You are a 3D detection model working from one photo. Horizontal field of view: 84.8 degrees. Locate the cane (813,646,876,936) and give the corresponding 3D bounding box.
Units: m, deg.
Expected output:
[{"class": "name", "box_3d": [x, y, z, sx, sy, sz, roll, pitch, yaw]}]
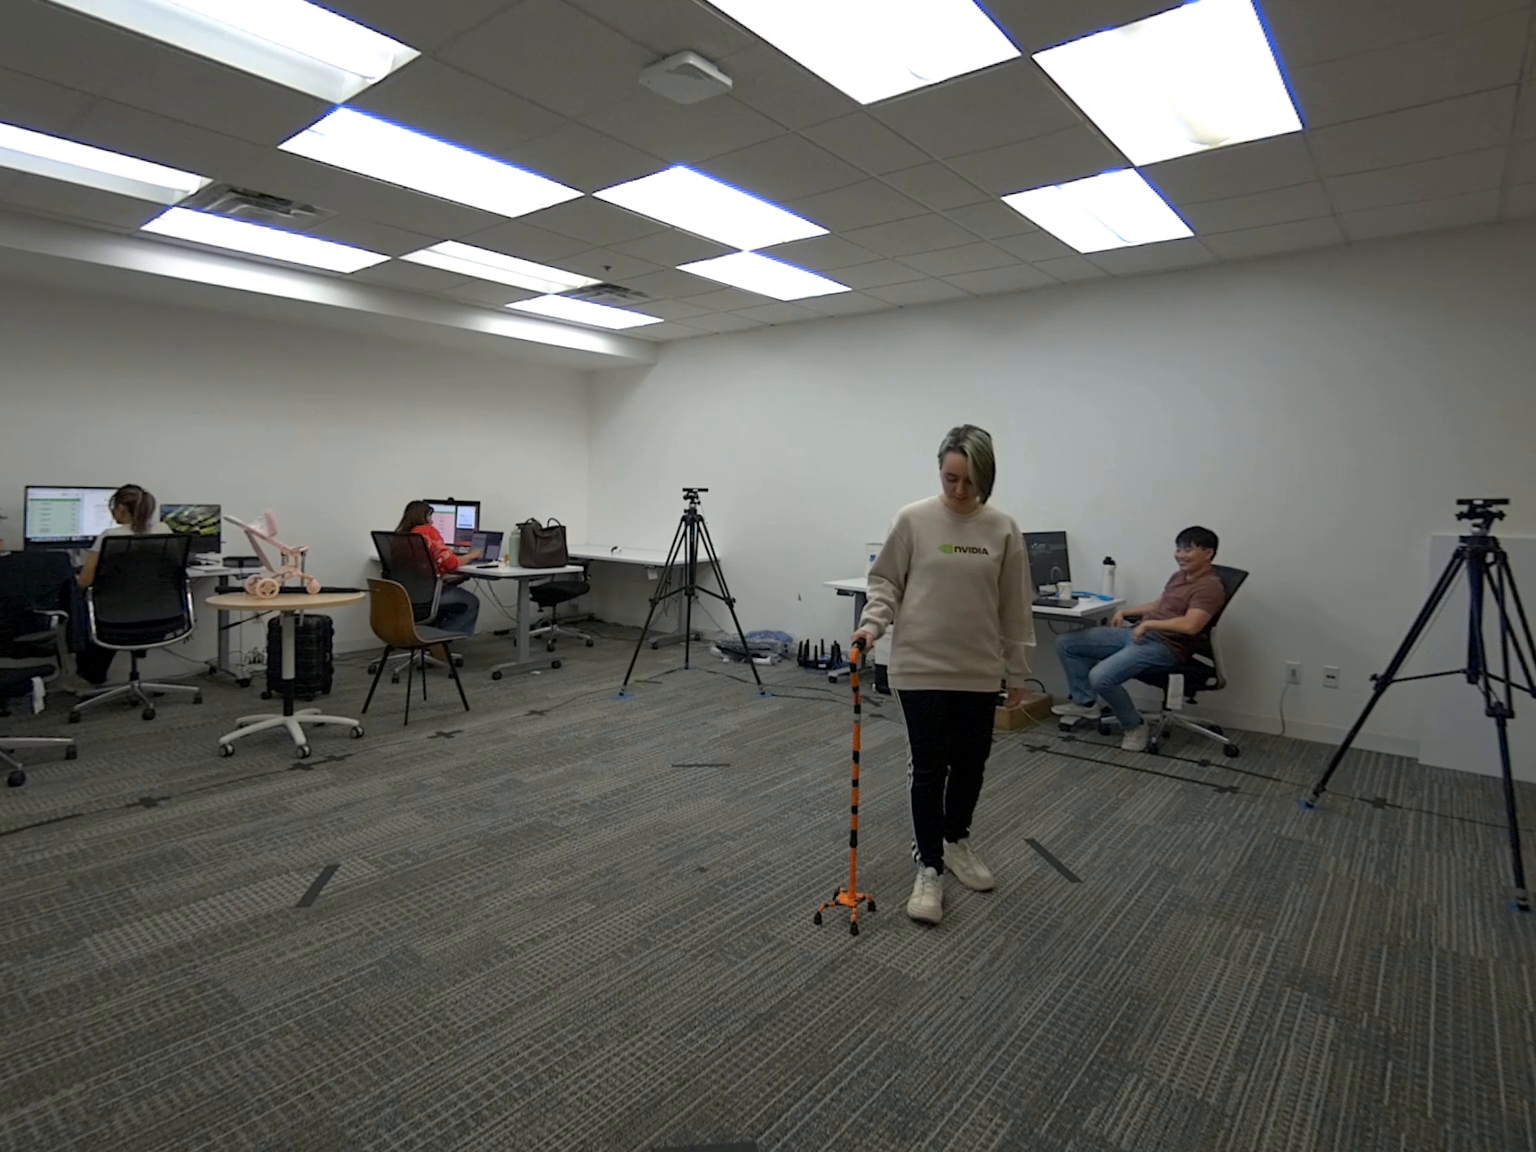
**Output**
[{"class": "cane", "box_3d": [0.256, 0.658, 2.769, 0.155, 0.905, 0.202, 2, 3, 24]}]
